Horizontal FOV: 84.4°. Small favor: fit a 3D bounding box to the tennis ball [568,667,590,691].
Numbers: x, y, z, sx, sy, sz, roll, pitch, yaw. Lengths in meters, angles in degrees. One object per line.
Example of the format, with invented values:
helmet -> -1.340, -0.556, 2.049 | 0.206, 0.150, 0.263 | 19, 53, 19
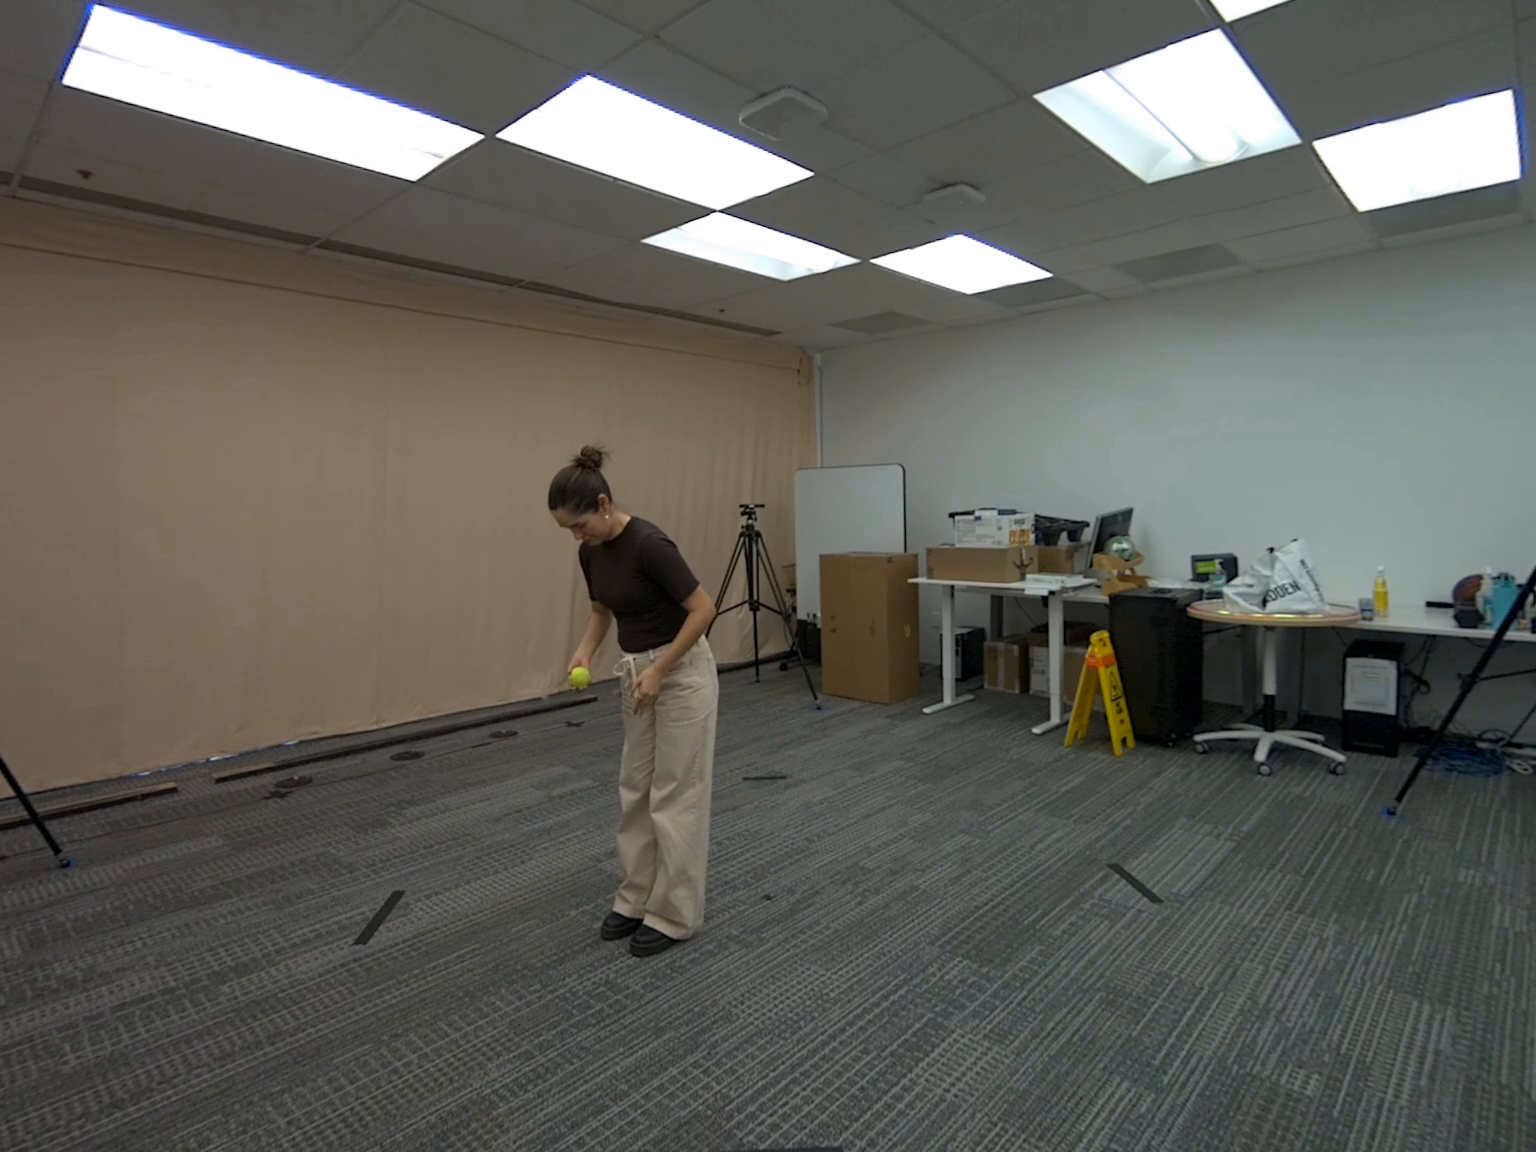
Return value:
tennis ball -> -0.583, 0.310, 2.661 | 0.066, 0.066, 0.067 | -1, 4, -2
